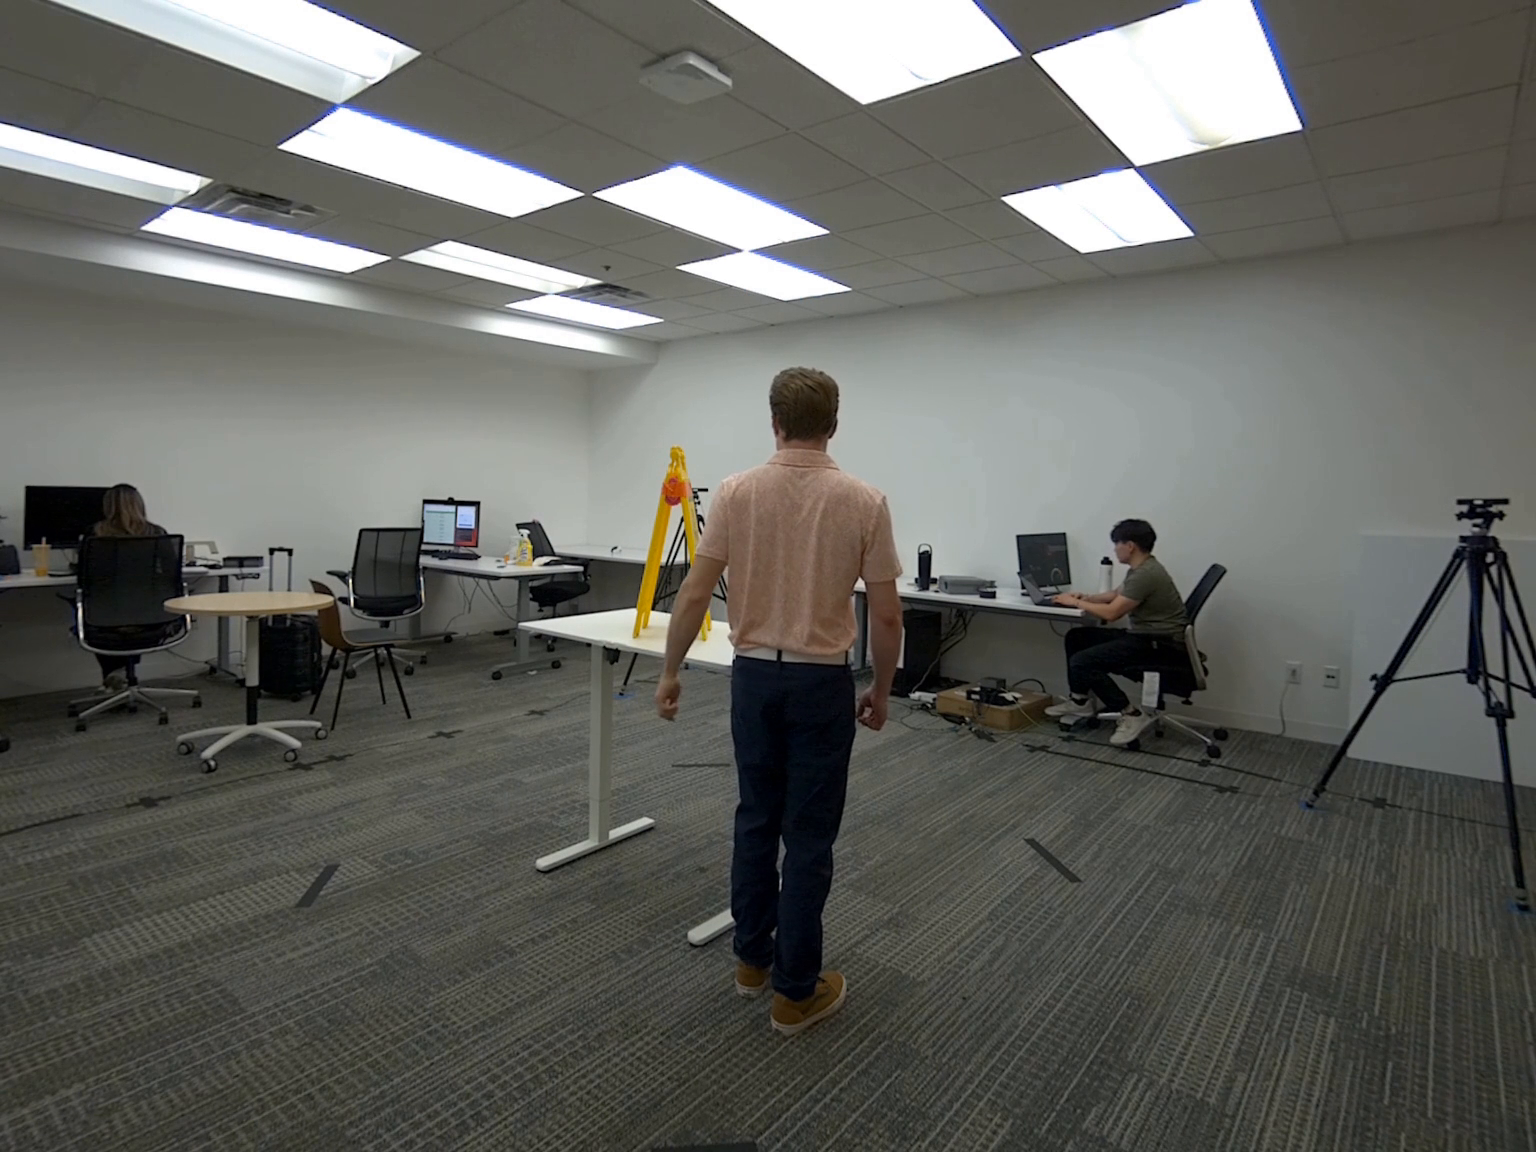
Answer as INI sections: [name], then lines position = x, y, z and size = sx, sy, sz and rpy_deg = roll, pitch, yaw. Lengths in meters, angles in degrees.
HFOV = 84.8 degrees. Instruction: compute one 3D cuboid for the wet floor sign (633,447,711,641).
[wet floor sign]
position = -0.330, -0.126, 2.963
size = 0.290, 0.643, 0.283
rpy_deg = 2, 4, 0
